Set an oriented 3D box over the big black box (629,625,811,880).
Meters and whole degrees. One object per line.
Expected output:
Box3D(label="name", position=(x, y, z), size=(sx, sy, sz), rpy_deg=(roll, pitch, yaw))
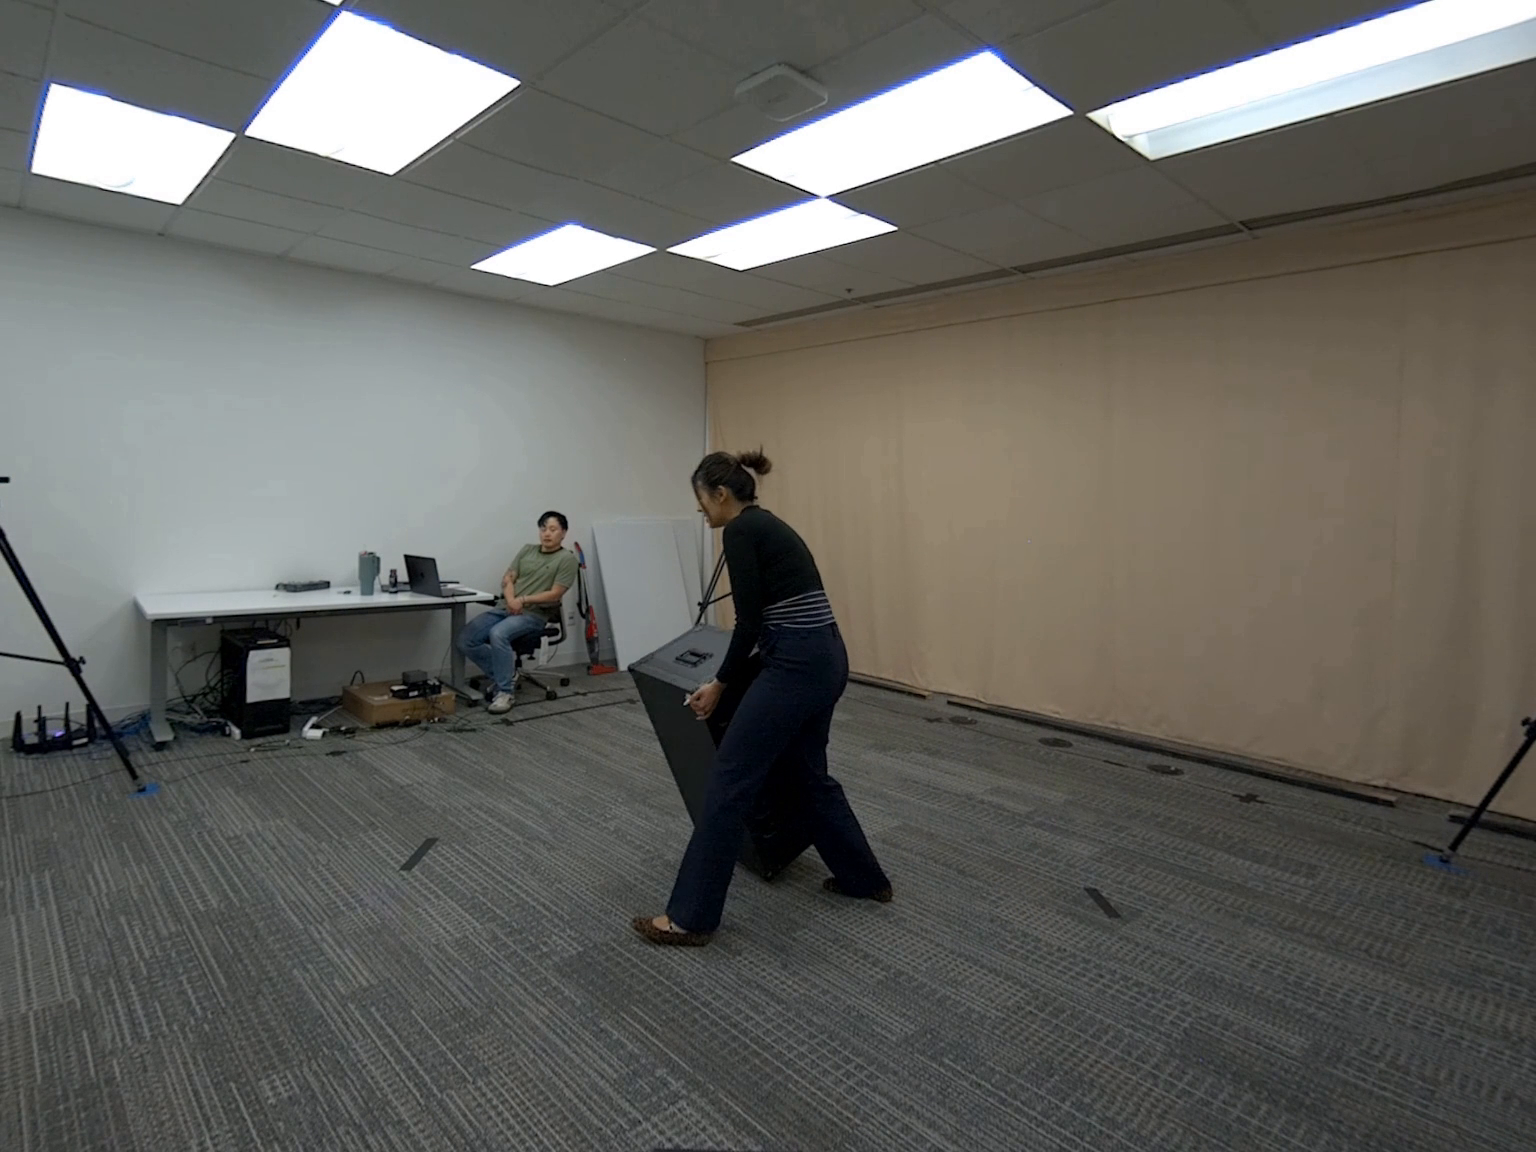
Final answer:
Box3D(label="big black box", position=(-0.166, 0.619, 3.141), size=(0.393, 0.849, 0.534), rpy_deg=(-26, 18, -26))
